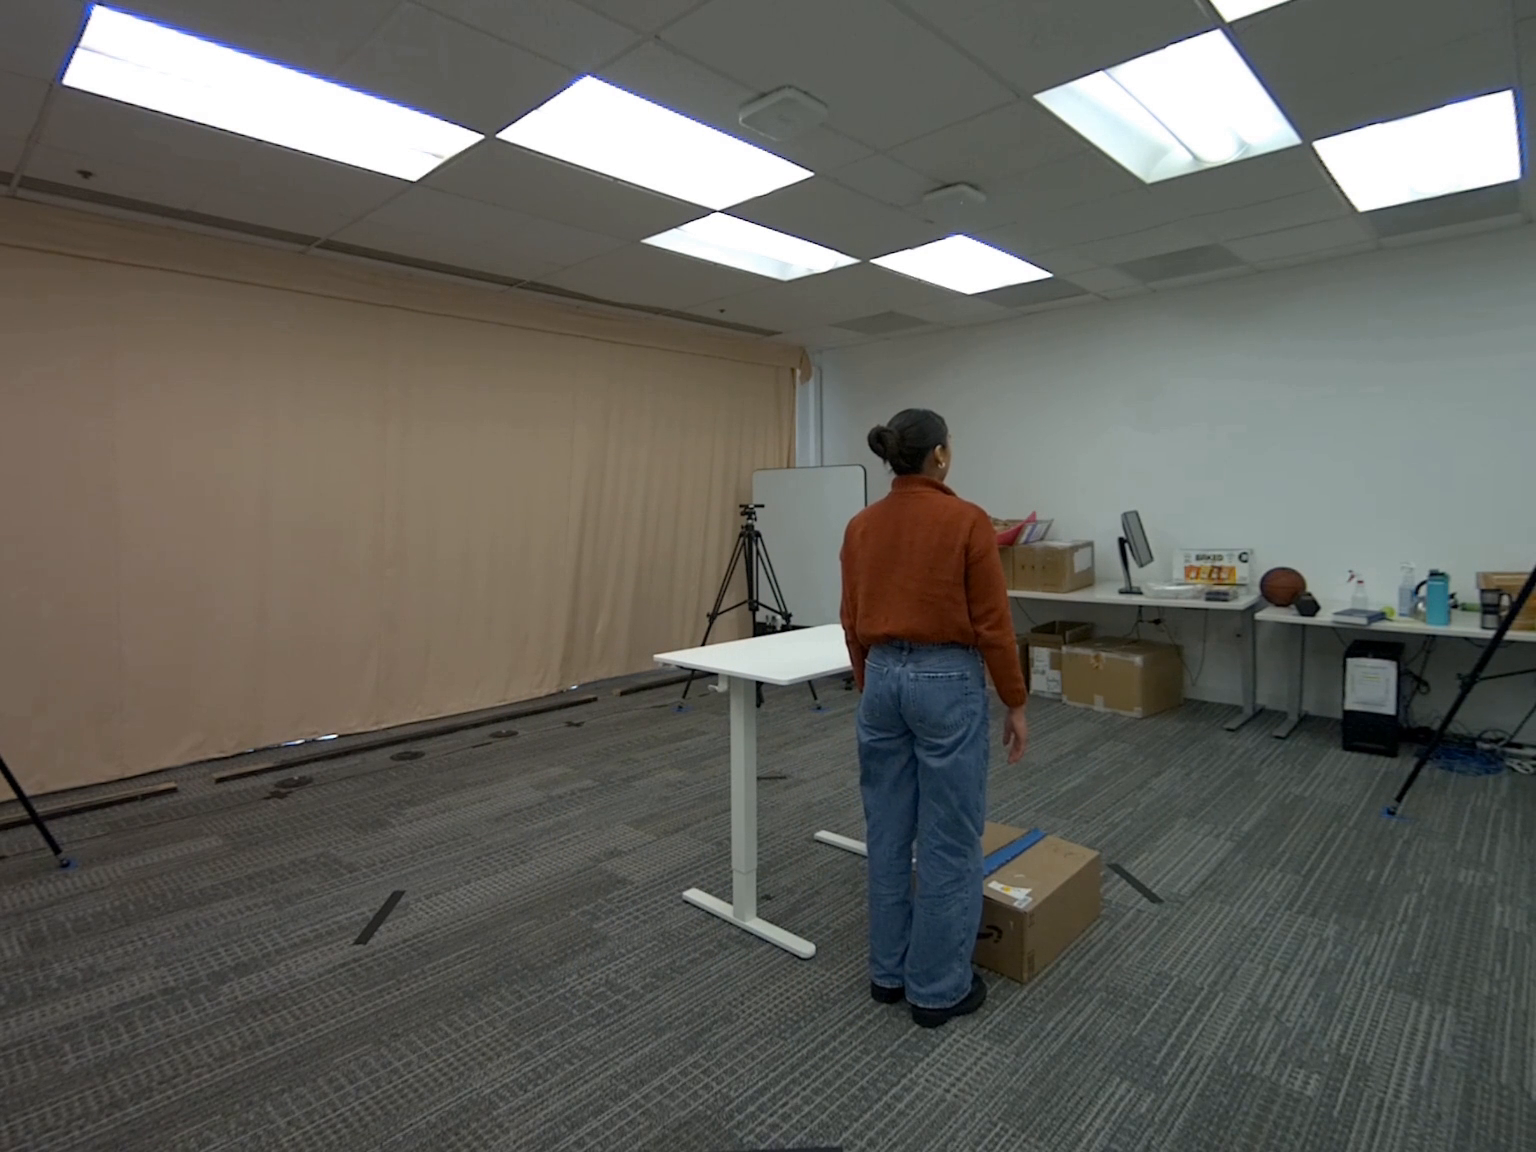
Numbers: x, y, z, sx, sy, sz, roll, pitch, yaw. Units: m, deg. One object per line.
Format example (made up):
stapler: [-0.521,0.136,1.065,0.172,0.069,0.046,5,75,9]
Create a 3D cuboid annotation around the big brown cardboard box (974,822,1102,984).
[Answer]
big brown cardboard box: [0.774,1.035,2.752,0.431,0.232,0.571,4,6,43]
